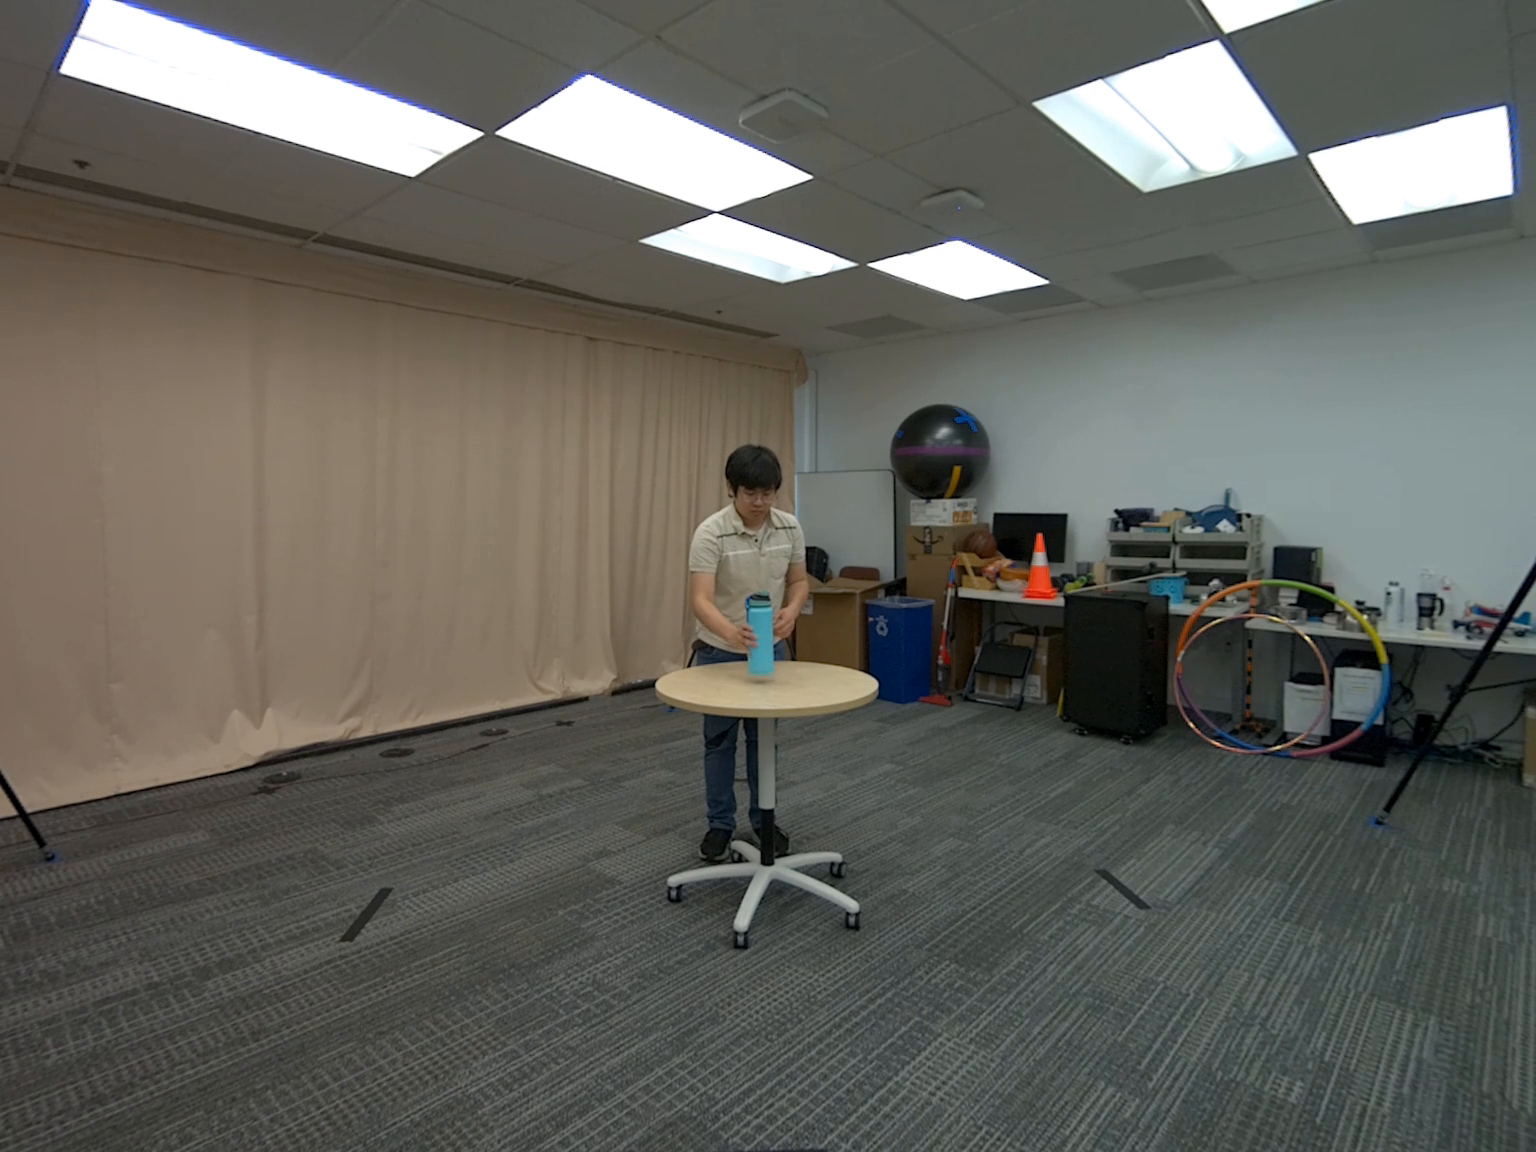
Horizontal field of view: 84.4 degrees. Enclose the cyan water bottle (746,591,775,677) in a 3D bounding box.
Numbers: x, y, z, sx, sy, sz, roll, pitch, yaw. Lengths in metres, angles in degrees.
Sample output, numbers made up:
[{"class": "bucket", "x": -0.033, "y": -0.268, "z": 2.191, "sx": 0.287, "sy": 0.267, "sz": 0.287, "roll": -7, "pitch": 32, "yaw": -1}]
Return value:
[{"class": "cyan water bottle", "x": -0.022, "y": 0.193, "z": 2.896, "sx": 0.092, "sy": 0.283, "sz": 0.093, "roll": 1, "pitch": 4, "yaw": -2}]
